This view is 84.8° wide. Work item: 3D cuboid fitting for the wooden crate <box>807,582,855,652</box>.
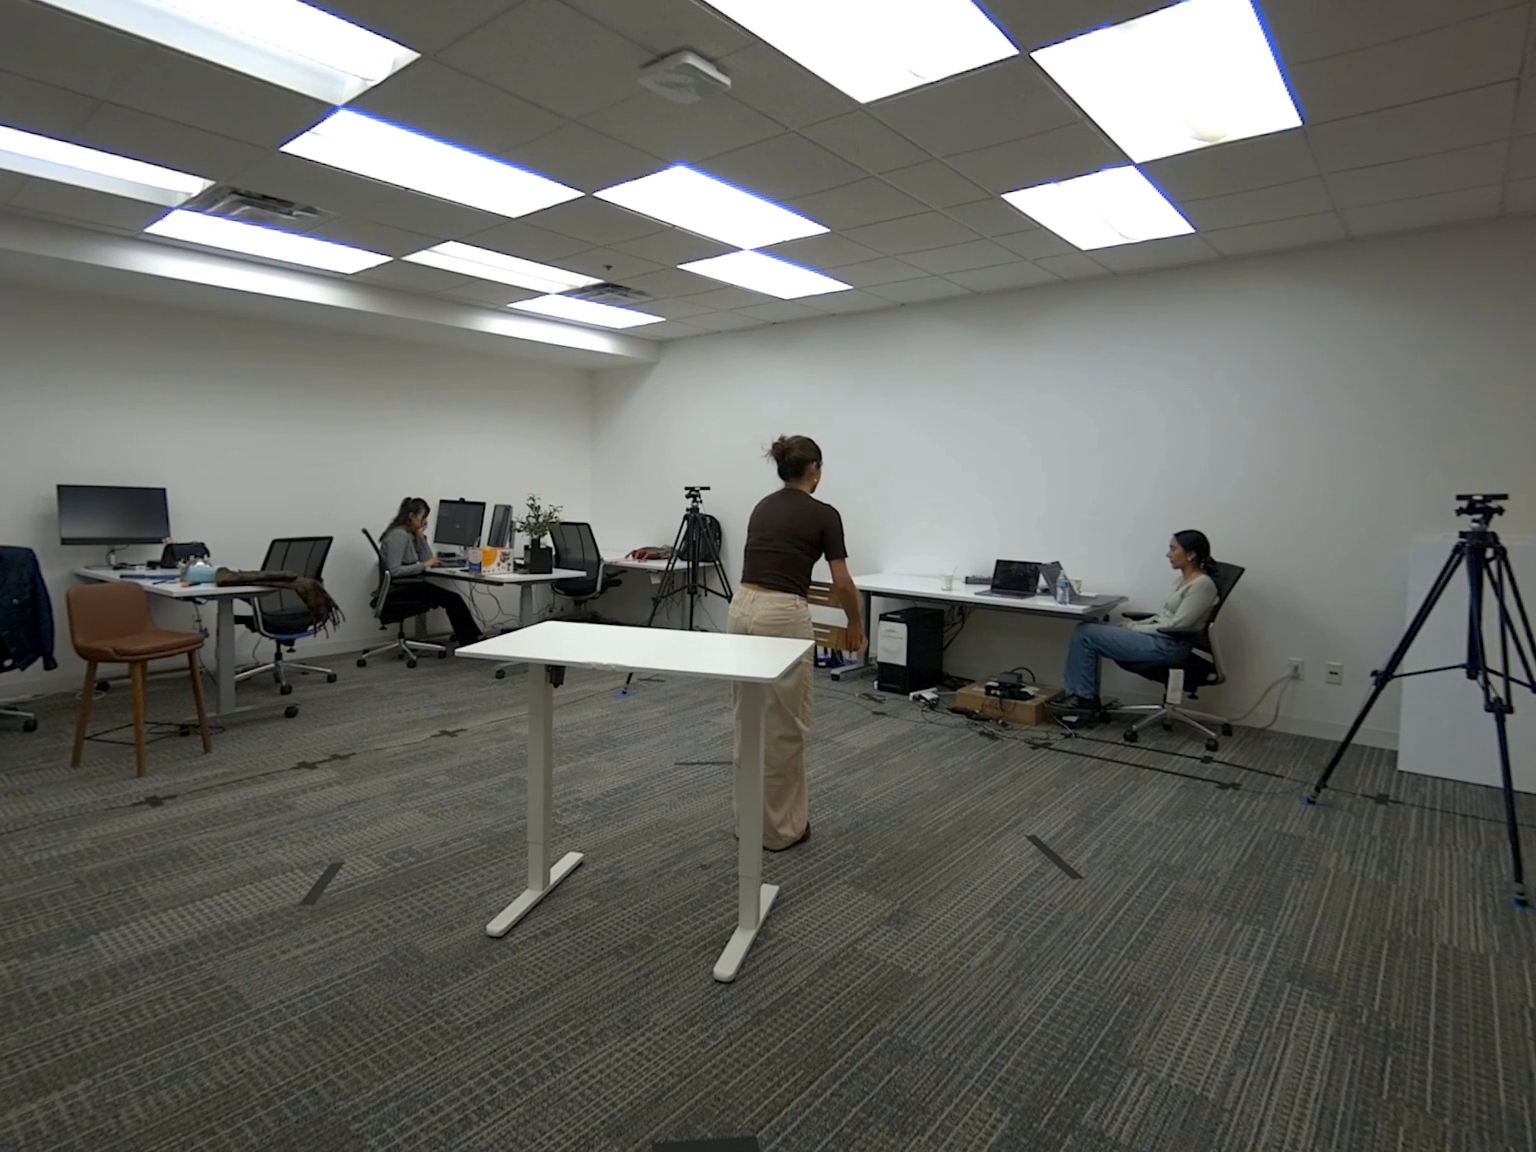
[{"bbox_3d":[0.221,0.158,3.593,0.335,0.274,0.291,7,-2,36],"label":"wooden crate"}]
